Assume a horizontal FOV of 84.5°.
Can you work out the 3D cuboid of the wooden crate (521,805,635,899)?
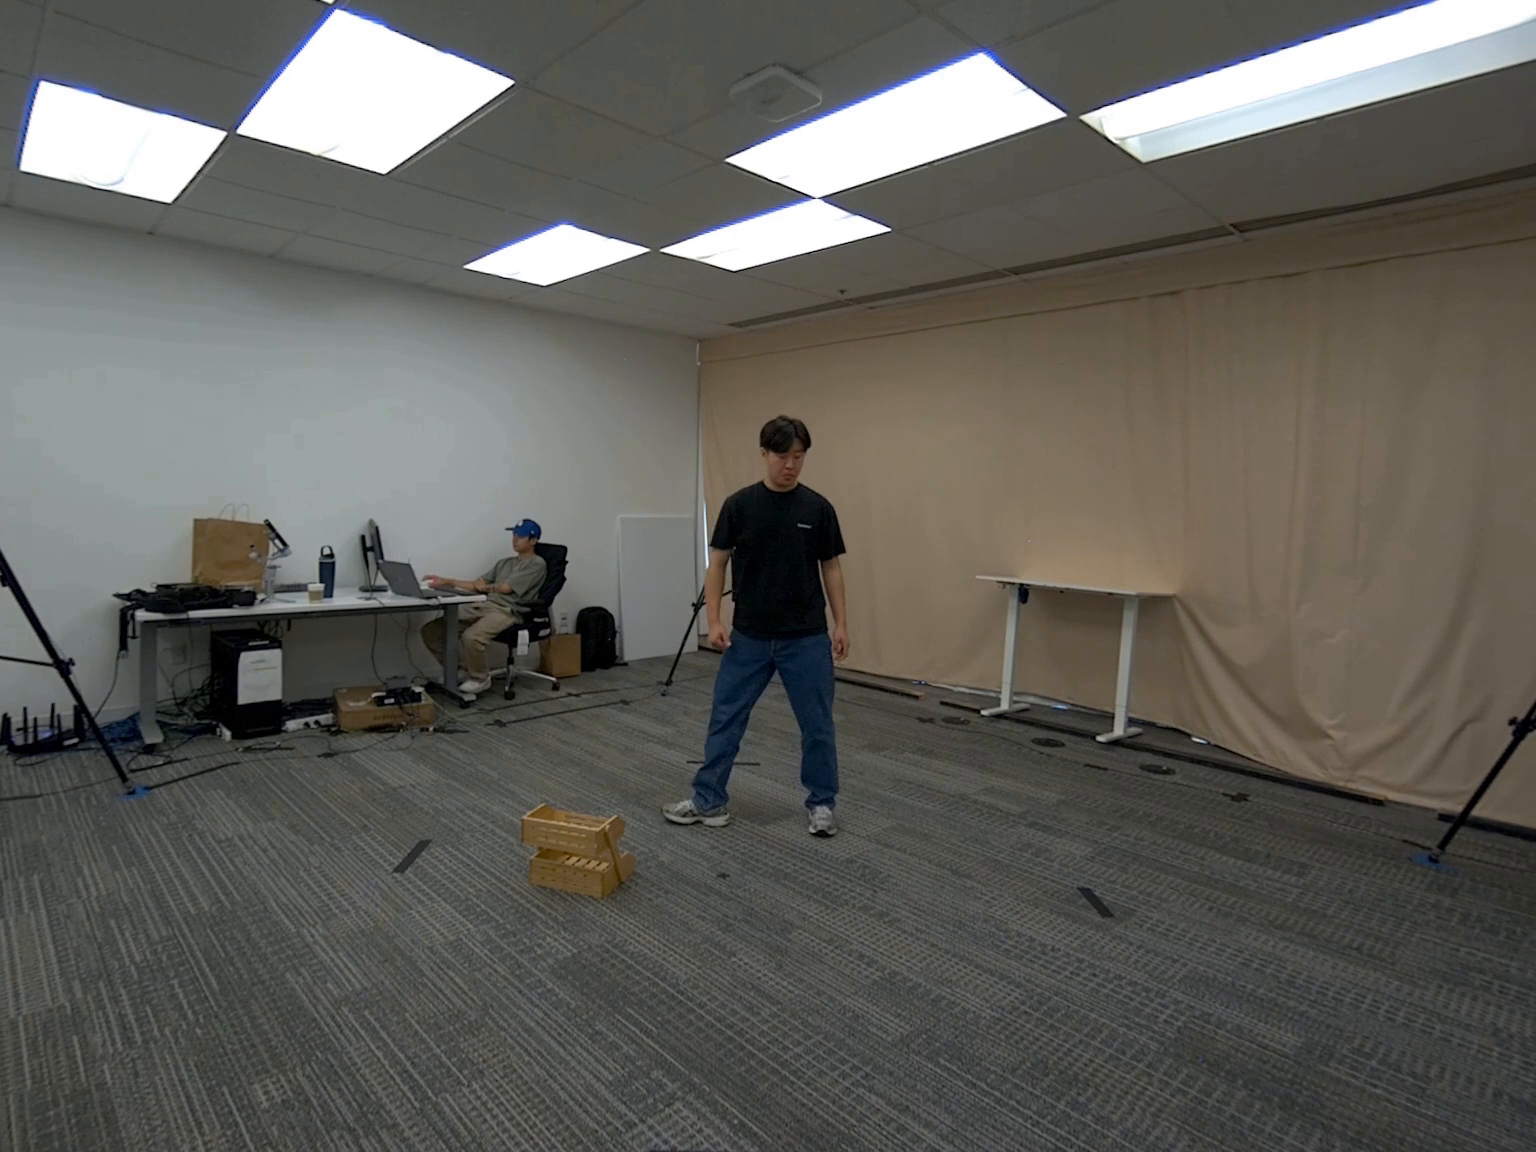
[{"bbox_3d":[-0.683,0.967,3.042,0.329,0.272,0.298,3,5,18],"label":"wooden crate"}]
